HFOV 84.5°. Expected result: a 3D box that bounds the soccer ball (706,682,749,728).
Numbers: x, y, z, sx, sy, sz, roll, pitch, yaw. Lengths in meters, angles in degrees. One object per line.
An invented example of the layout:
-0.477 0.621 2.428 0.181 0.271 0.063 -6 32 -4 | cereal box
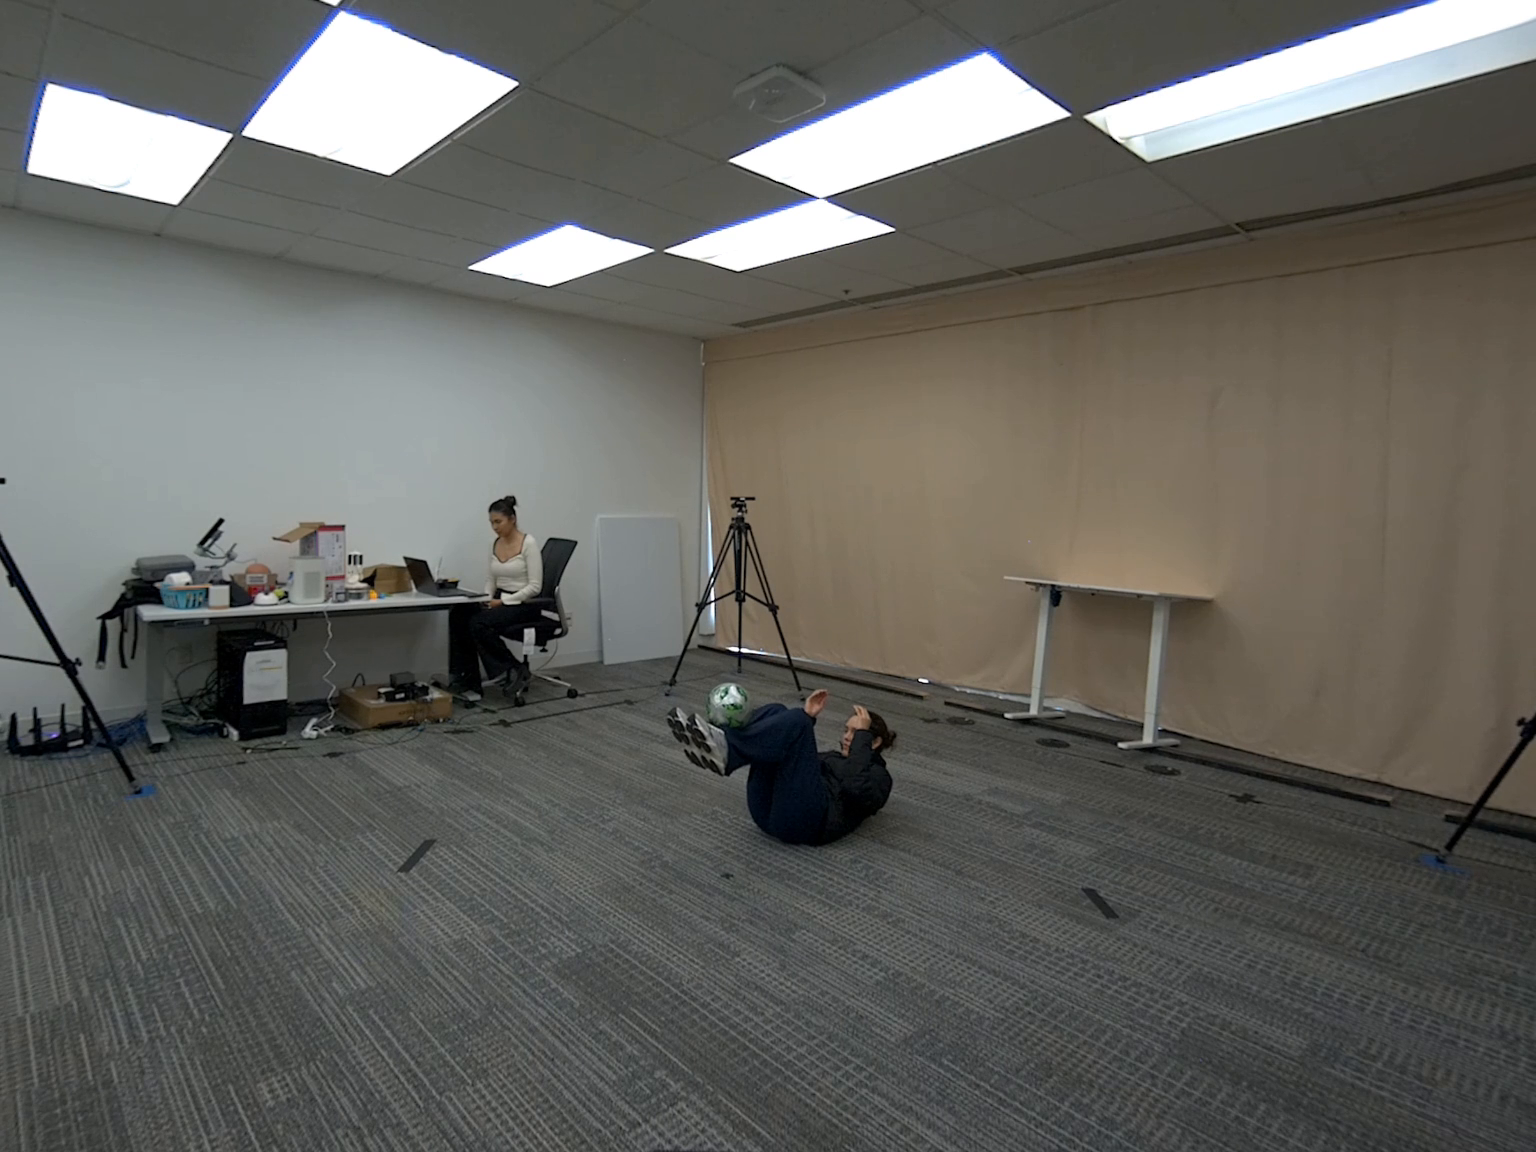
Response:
-0.155 0.516 3.278 0.187 0.186 0.188 0 7 -1 | soccer ball
